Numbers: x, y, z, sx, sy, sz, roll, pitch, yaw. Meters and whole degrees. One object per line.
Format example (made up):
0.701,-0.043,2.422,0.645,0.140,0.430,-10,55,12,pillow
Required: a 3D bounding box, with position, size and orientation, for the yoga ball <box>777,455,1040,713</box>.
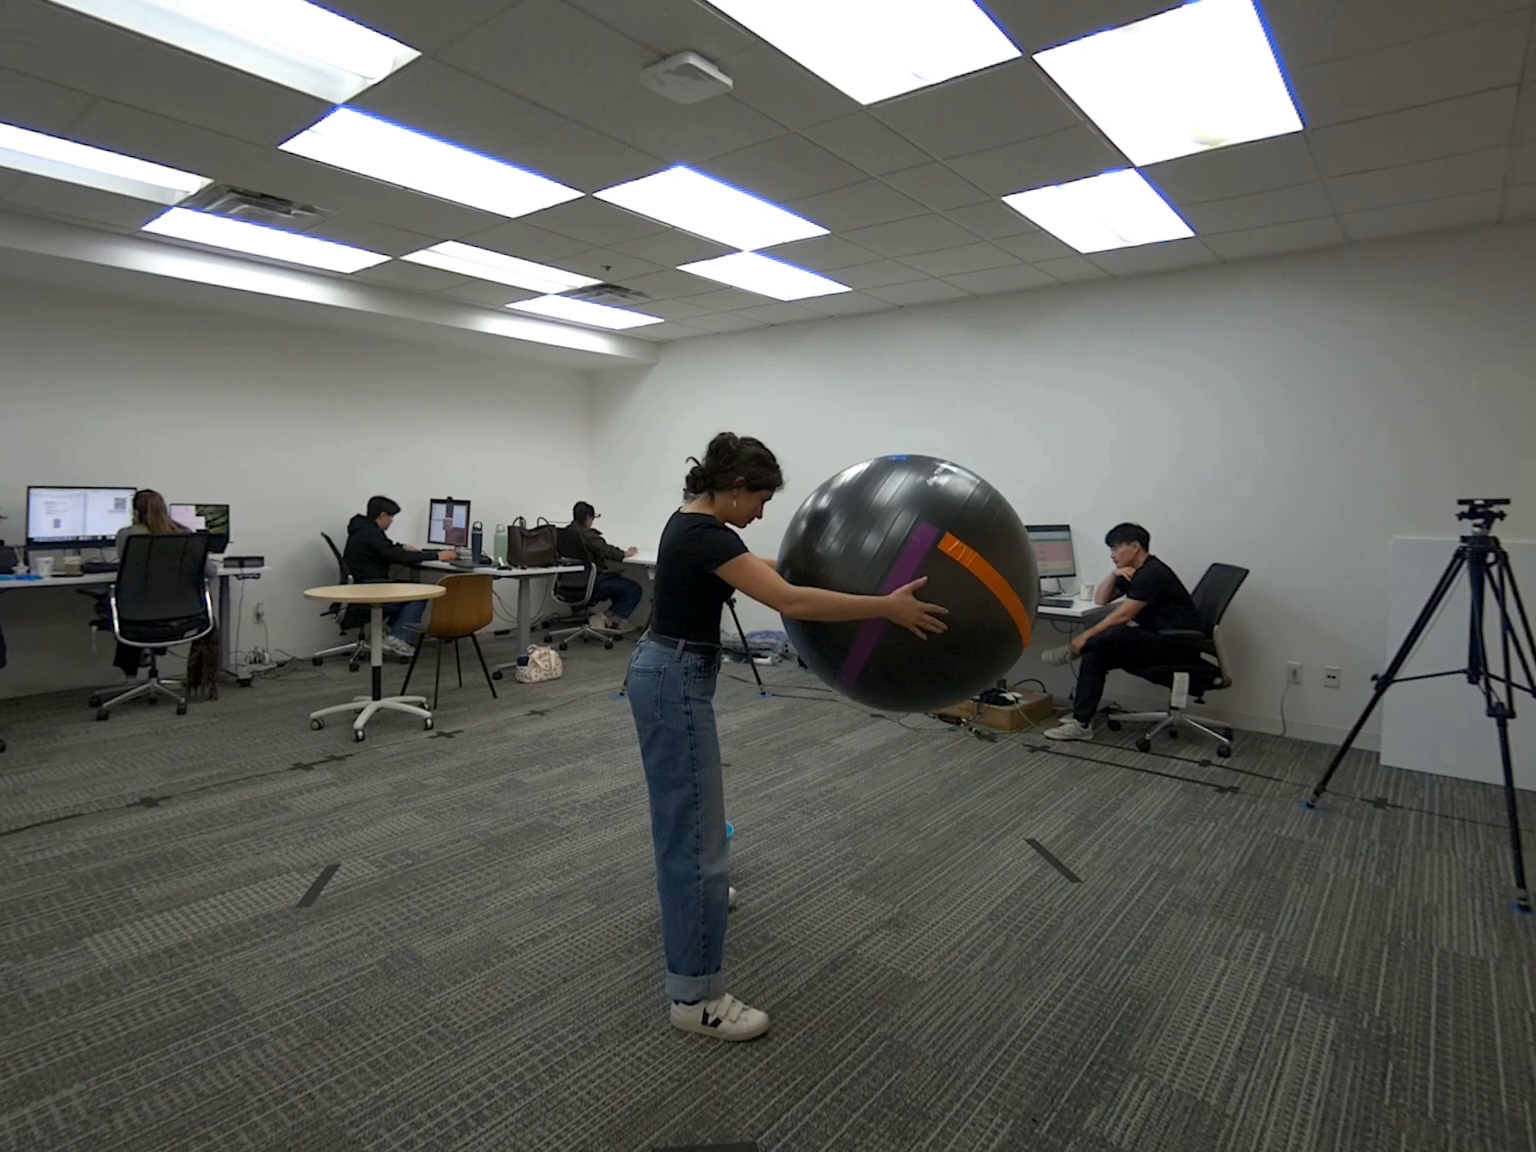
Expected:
0.403,0.031,2.520,0.757,0.756,0.762,1,4,-2,yoga ball
